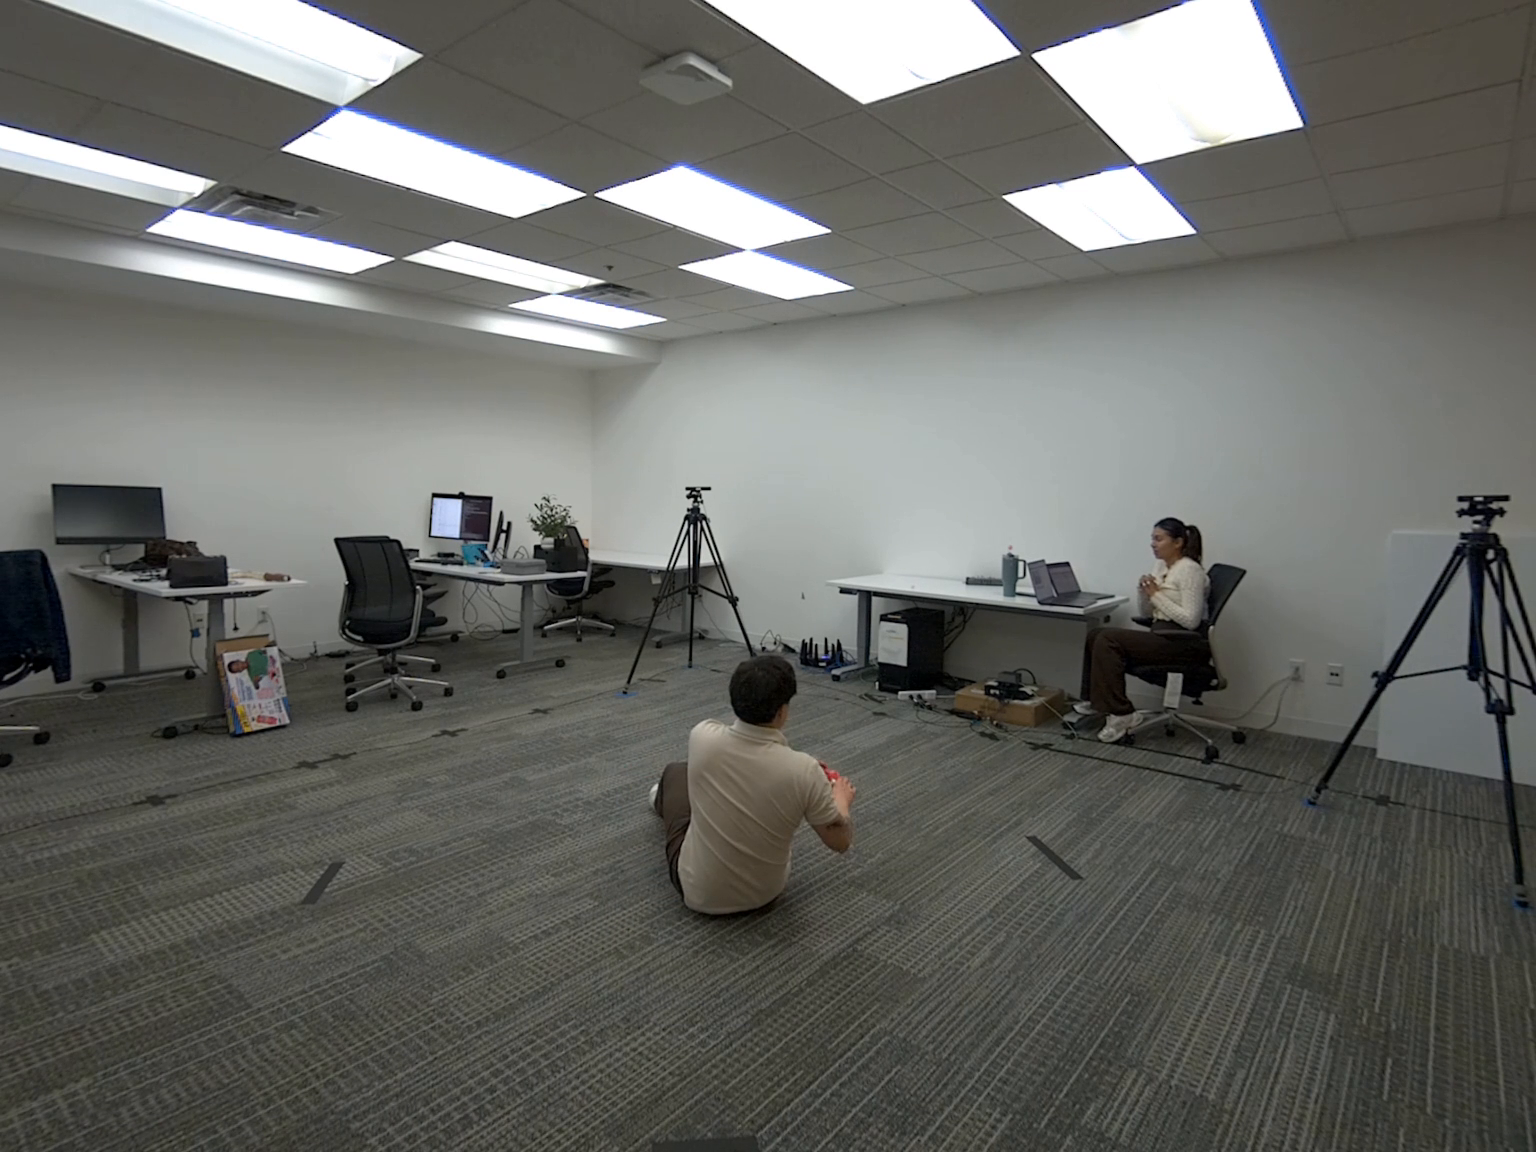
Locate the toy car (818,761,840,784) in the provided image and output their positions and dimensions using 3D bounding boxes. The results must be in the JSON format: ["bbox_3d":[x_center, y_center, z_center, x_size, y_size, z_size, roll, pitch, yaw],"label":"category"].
[{"bbox_3d":[0.157,0.743,3.118,0.264,0.080,0.130,12,52,47],"label":"toy car"}]
